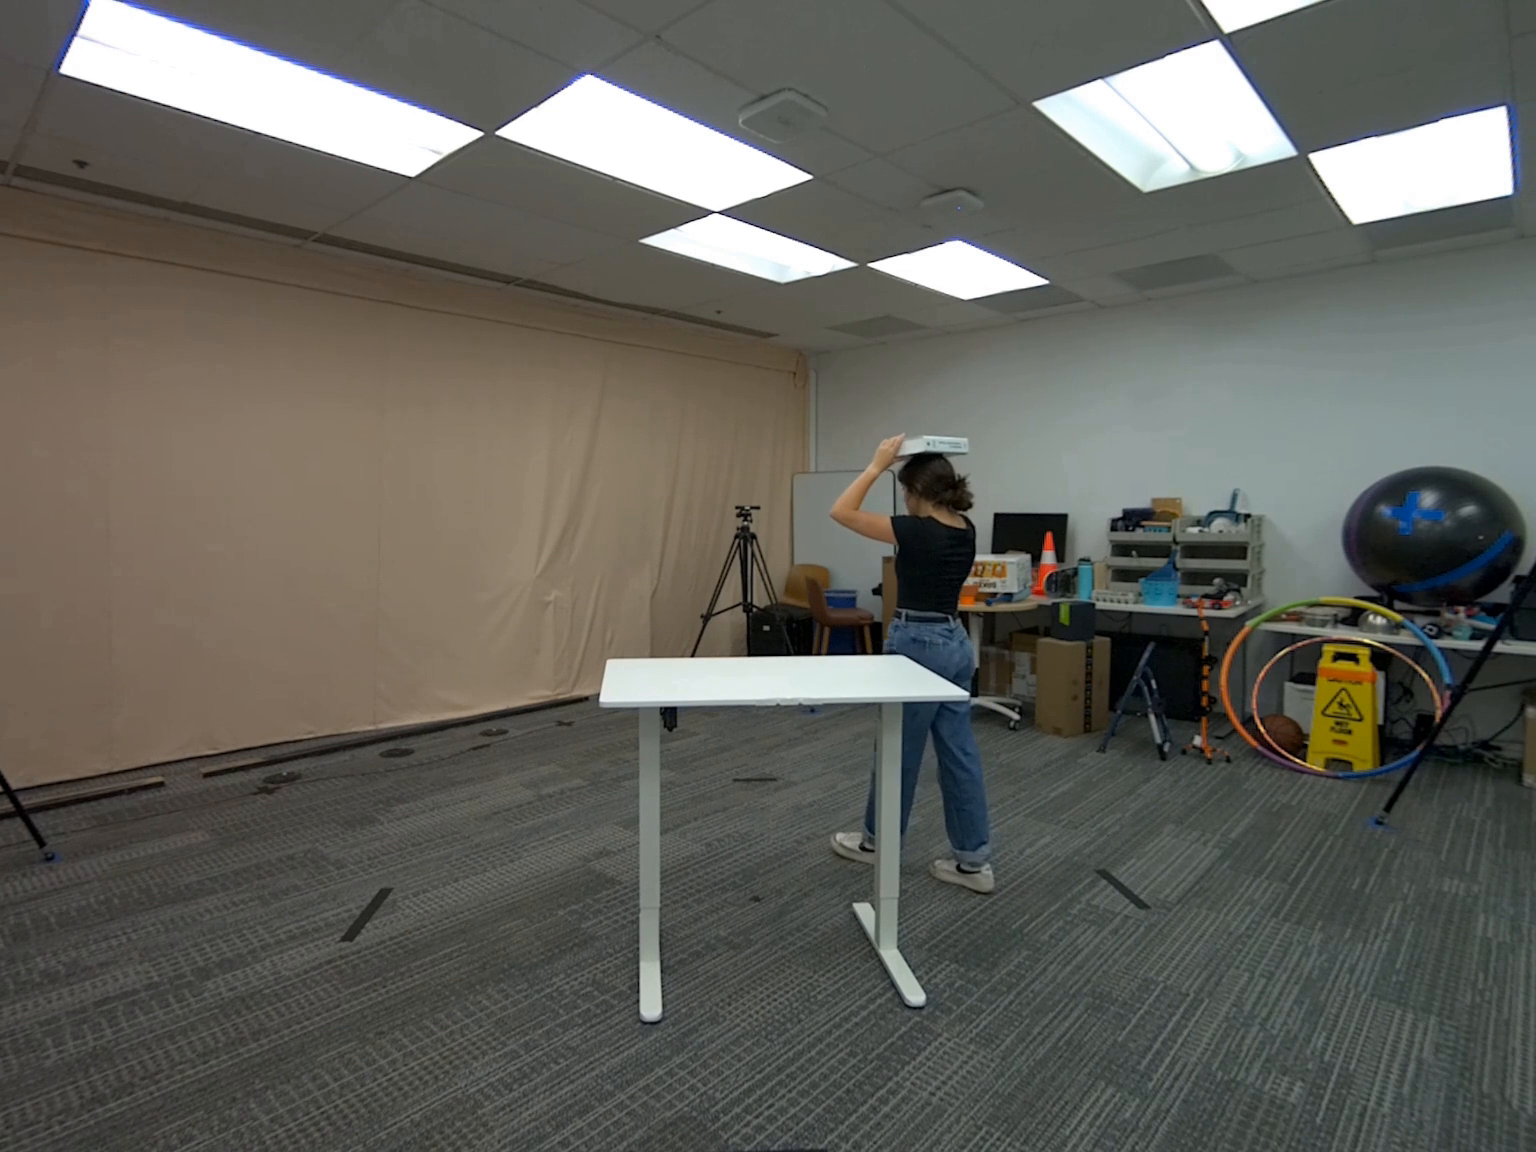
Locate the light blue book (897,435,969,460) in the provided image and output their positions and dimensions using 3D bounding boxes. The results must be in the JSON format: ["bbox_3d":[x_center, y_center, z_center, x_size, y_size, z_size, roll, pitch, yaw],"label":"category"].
[{"bbox_3d":[0.596,-0.474,3.122,0.253,0.059,0.197,-4,2,-44],"label":"light blue book"}]
